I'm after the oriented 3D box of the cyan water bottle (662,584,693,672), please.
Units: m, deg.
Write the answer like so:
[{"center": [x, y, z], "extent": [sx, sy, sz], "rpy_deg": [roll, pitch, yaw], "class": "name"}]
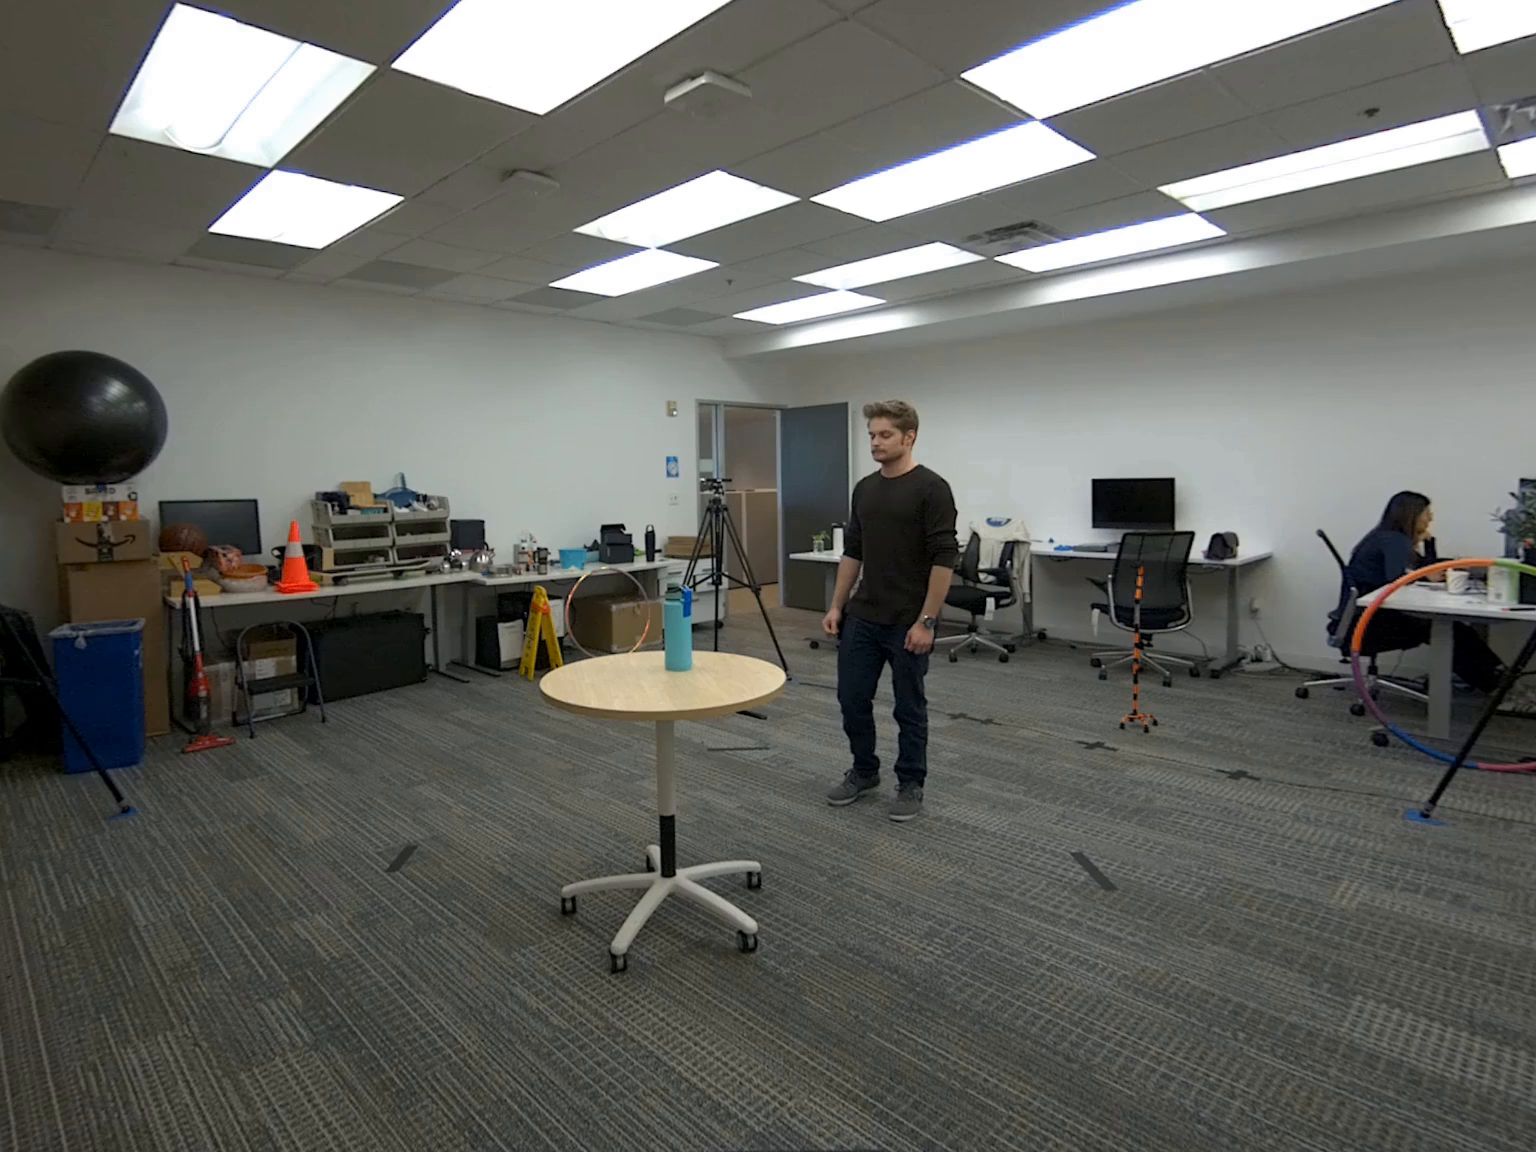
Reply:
[{"center": [-0.290, 0.165, 2.775], "extent": [0.092, 0.282, 0.093], "rpy_deg": [-1, 4, -2], "class": "cyan water bottle"}]
